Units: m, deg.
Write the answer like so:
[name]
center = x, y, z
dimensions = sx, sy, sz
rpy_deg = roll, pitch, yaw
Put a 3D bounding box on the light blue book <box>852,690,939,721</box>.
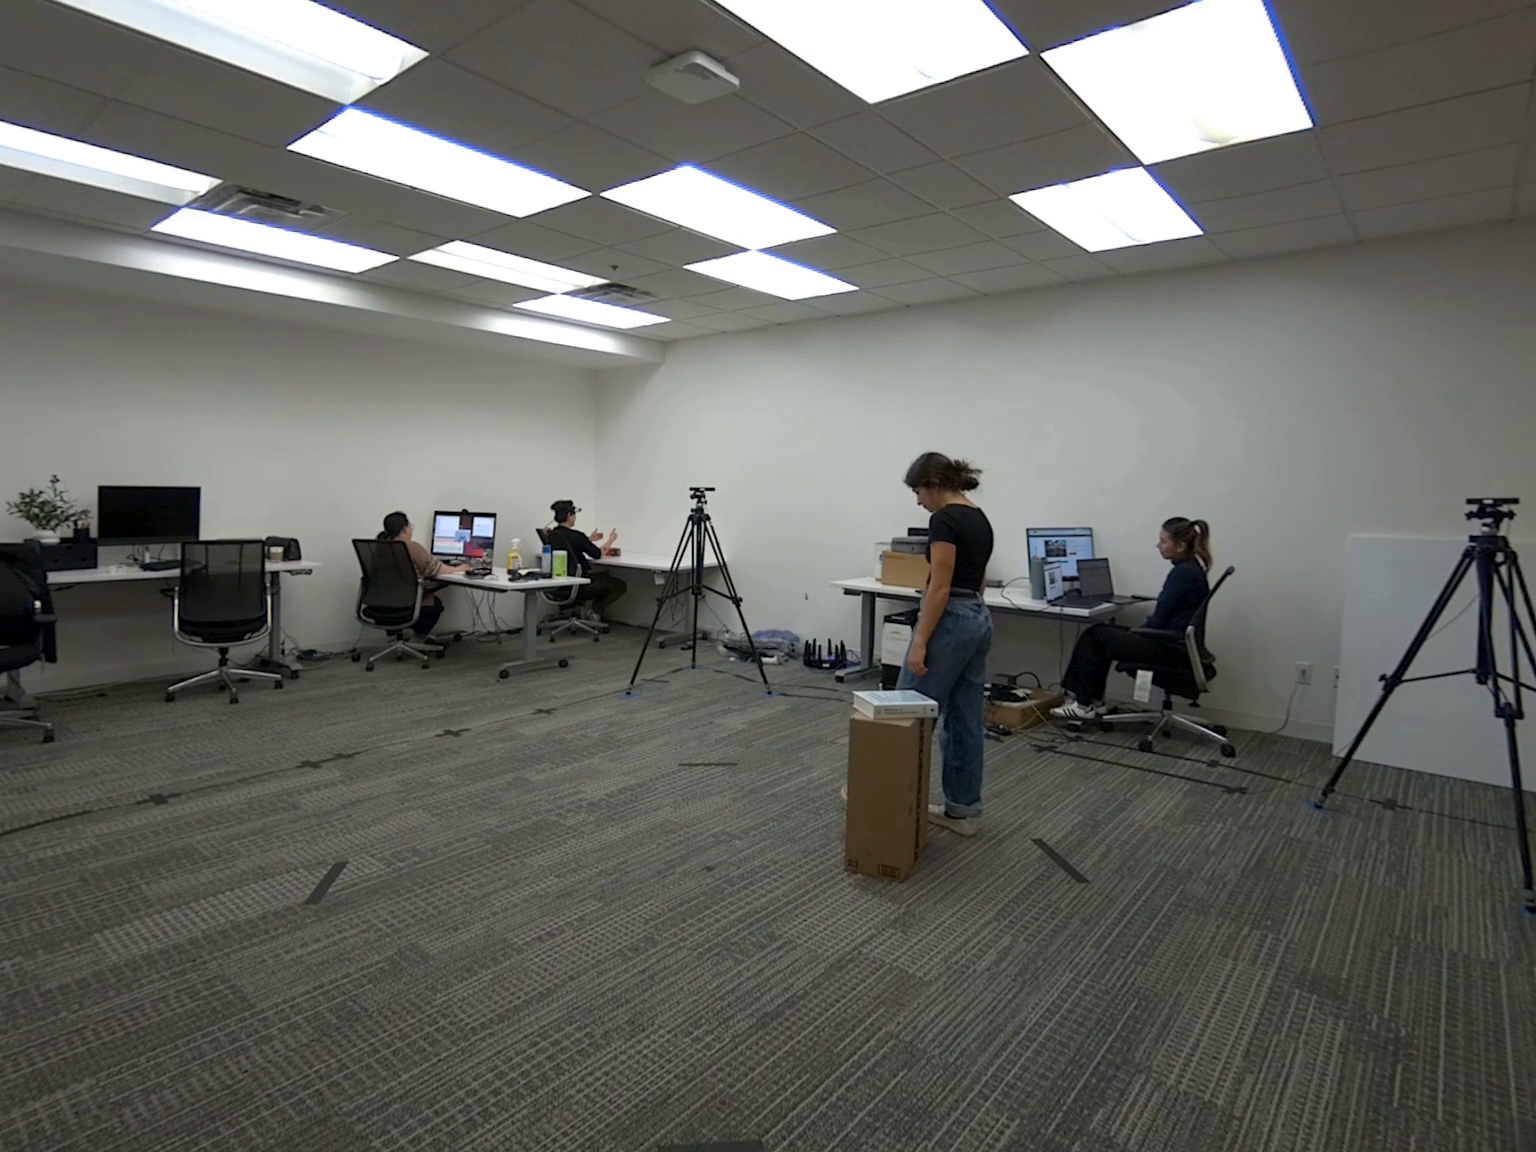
[light blue book]
center = 0.474, 0.482, 3.193
dimensions = 0.257, 0.059, 0.195
rpy_deg = 0, 6, -16
